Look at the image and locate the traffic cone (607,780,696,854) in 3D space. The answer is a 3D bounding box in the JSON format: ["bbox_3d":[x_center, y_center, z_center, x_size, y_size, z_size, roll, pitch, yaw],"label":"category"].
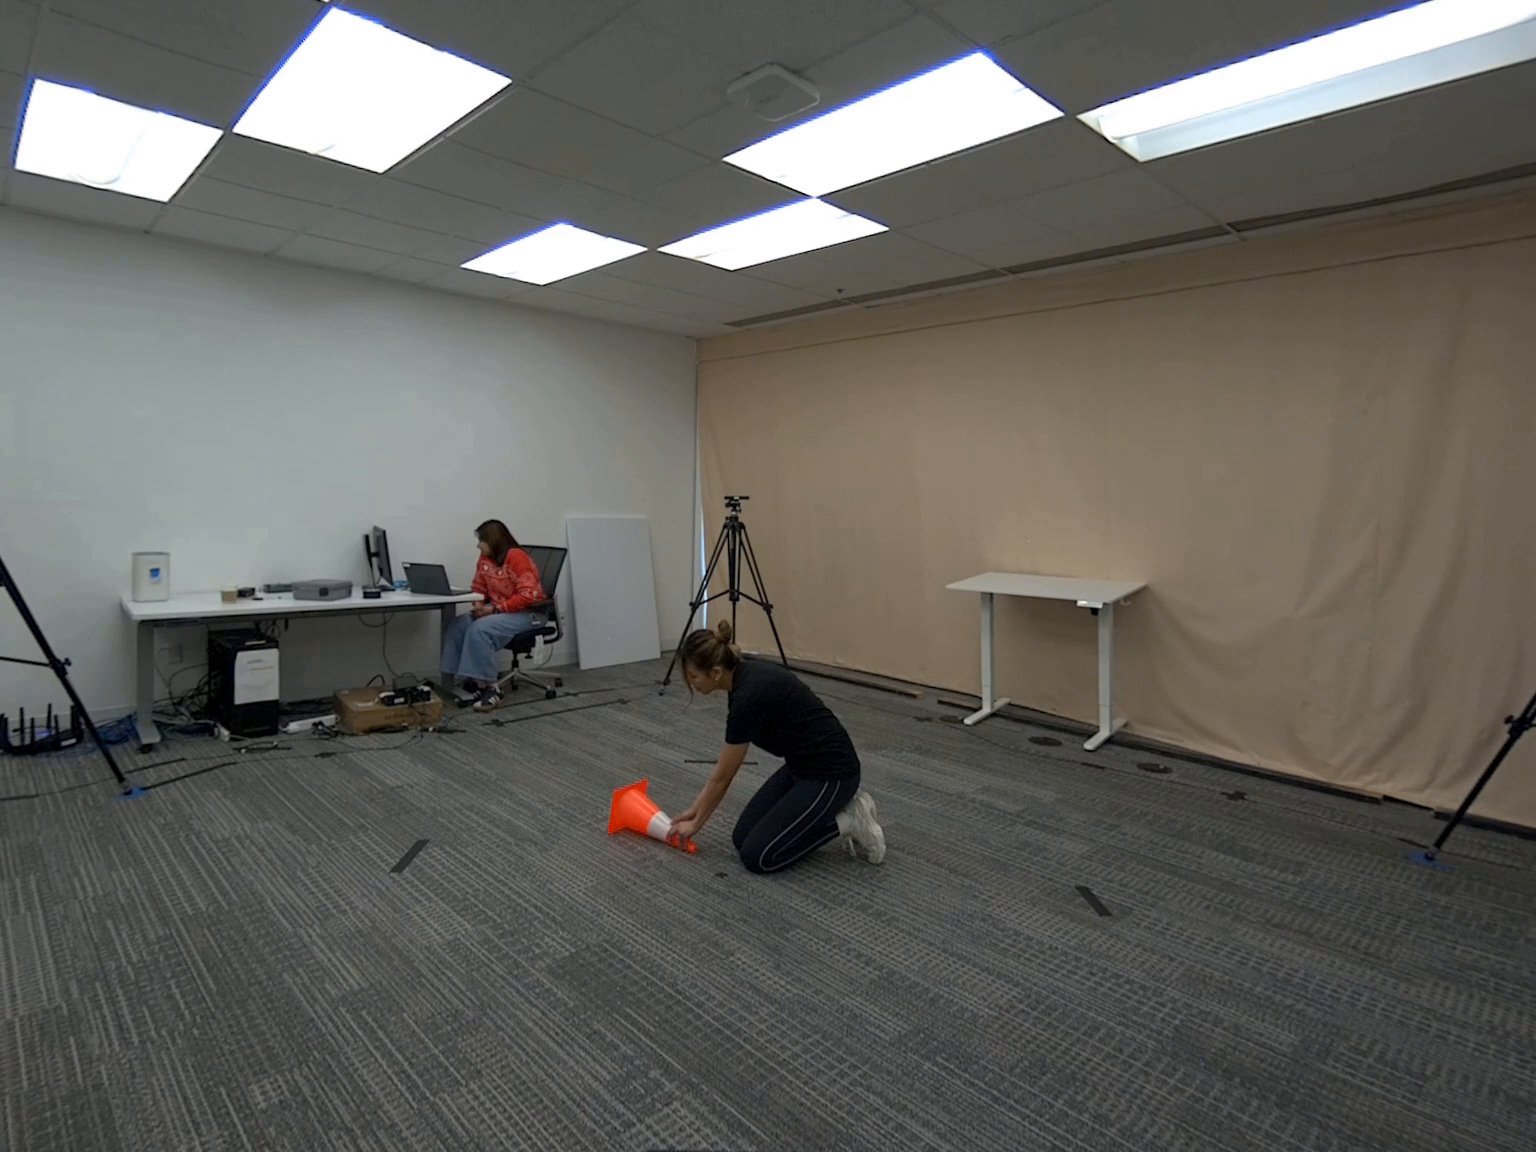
[{"bbox_3d":[-0.441,1.008,3.394,0.395,0.202,0.201,19,16,36],"label":"traffic cone"}]
